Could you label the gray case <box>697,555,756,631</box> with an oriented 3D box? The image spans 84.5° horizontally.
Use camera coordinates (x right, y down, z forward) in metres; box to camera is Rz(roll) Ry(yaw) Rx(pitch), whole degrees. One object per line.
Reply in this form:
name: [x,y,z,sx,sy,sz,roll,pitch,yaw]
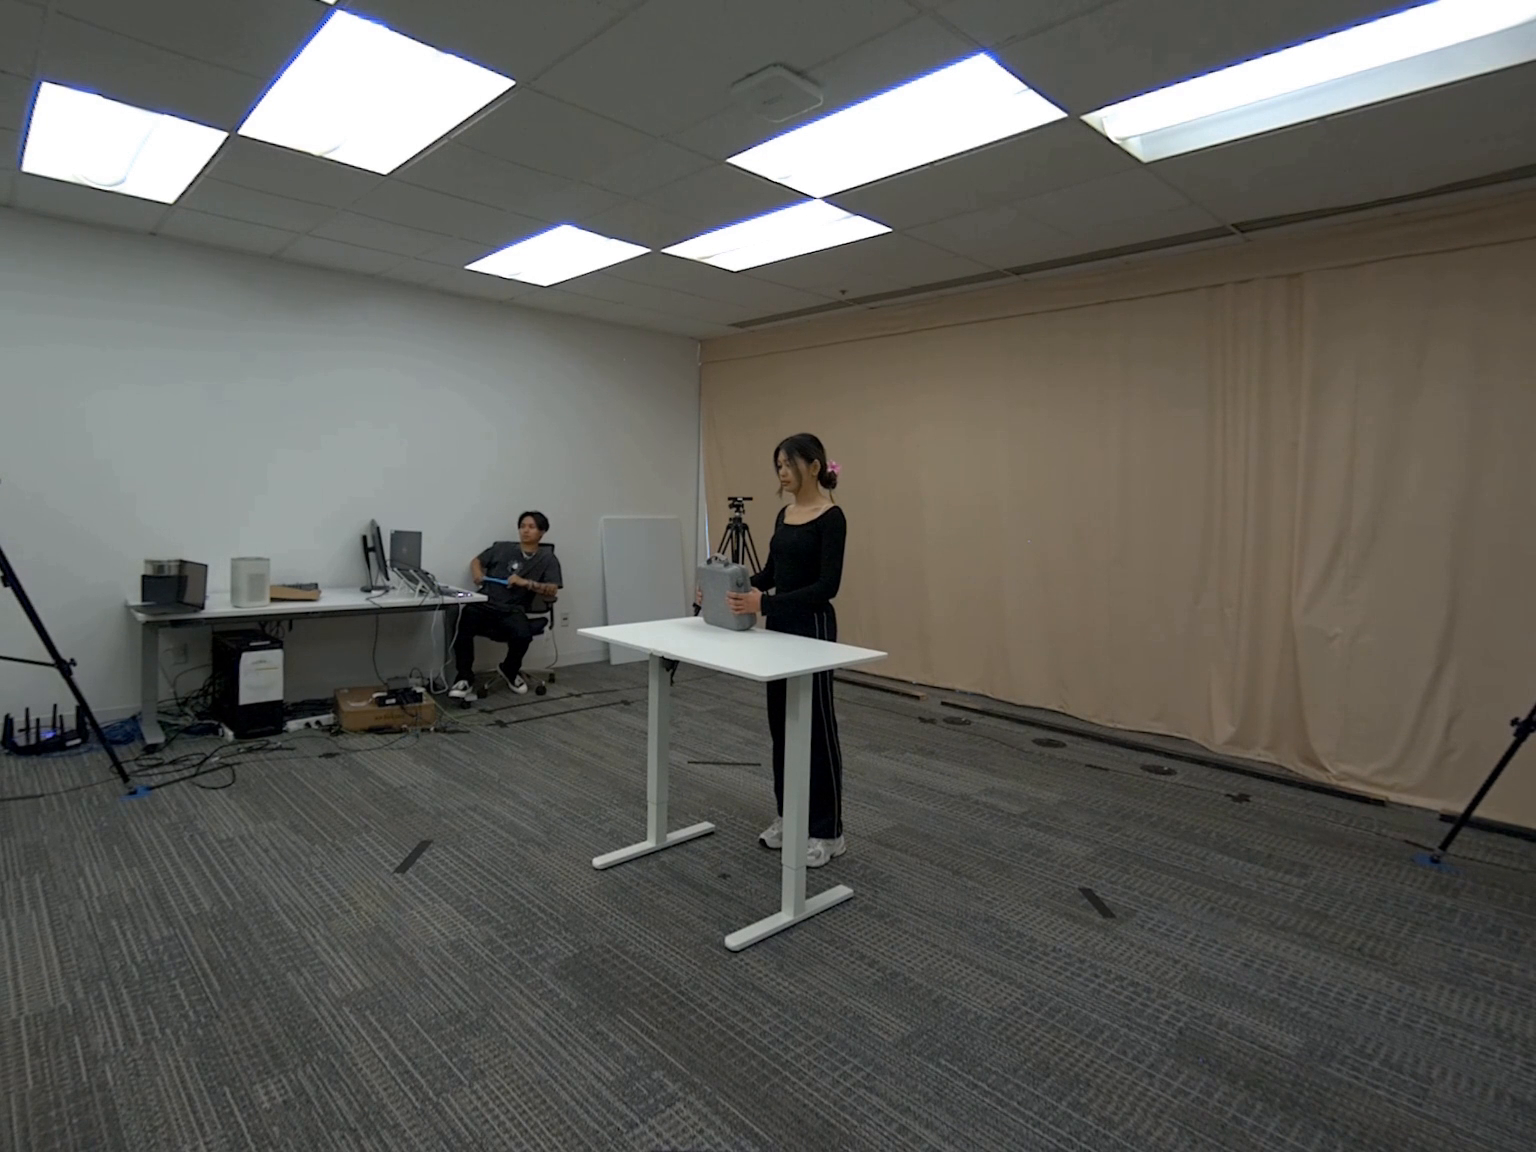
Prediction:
gray case: [-0.175,0.073,3.303,0.103,0.258,0.263,-16,14,-35]
